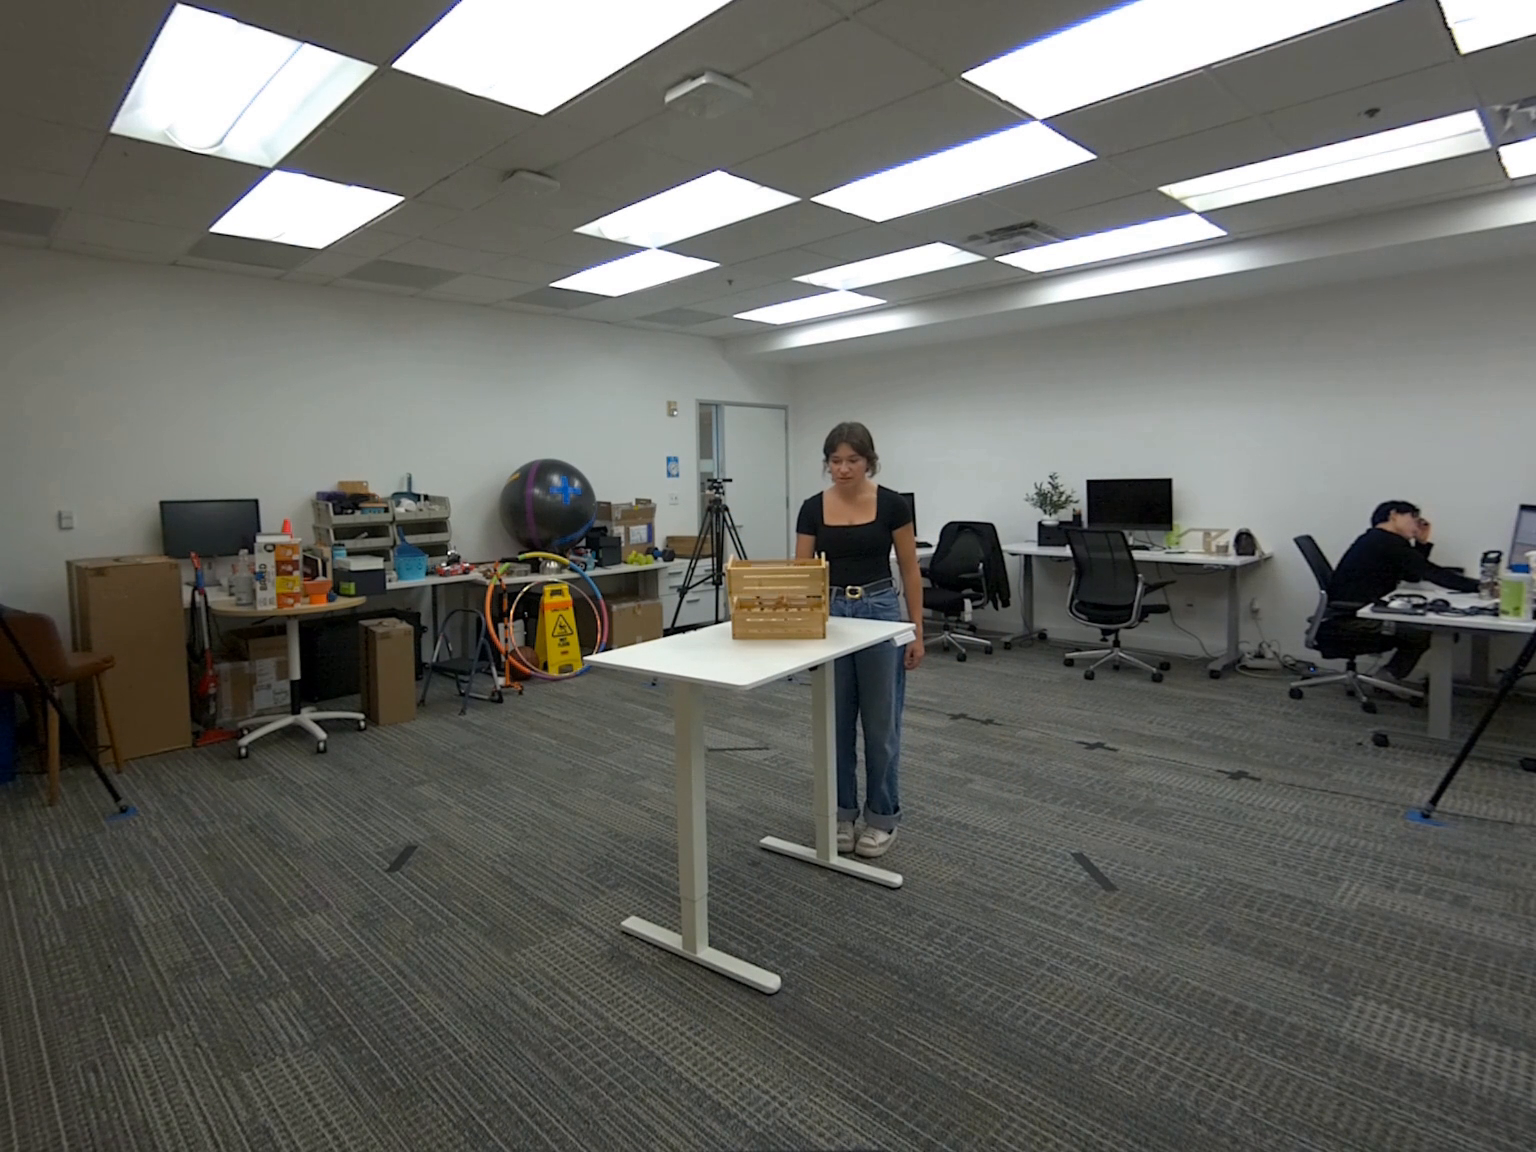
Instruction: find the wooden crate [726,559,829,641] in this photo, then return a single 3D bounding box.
[{"bbox_3d":[0.038,0.051,2.784,0.326,0.269,0.305,-2,18,5],"label":"wooden crate"}]
